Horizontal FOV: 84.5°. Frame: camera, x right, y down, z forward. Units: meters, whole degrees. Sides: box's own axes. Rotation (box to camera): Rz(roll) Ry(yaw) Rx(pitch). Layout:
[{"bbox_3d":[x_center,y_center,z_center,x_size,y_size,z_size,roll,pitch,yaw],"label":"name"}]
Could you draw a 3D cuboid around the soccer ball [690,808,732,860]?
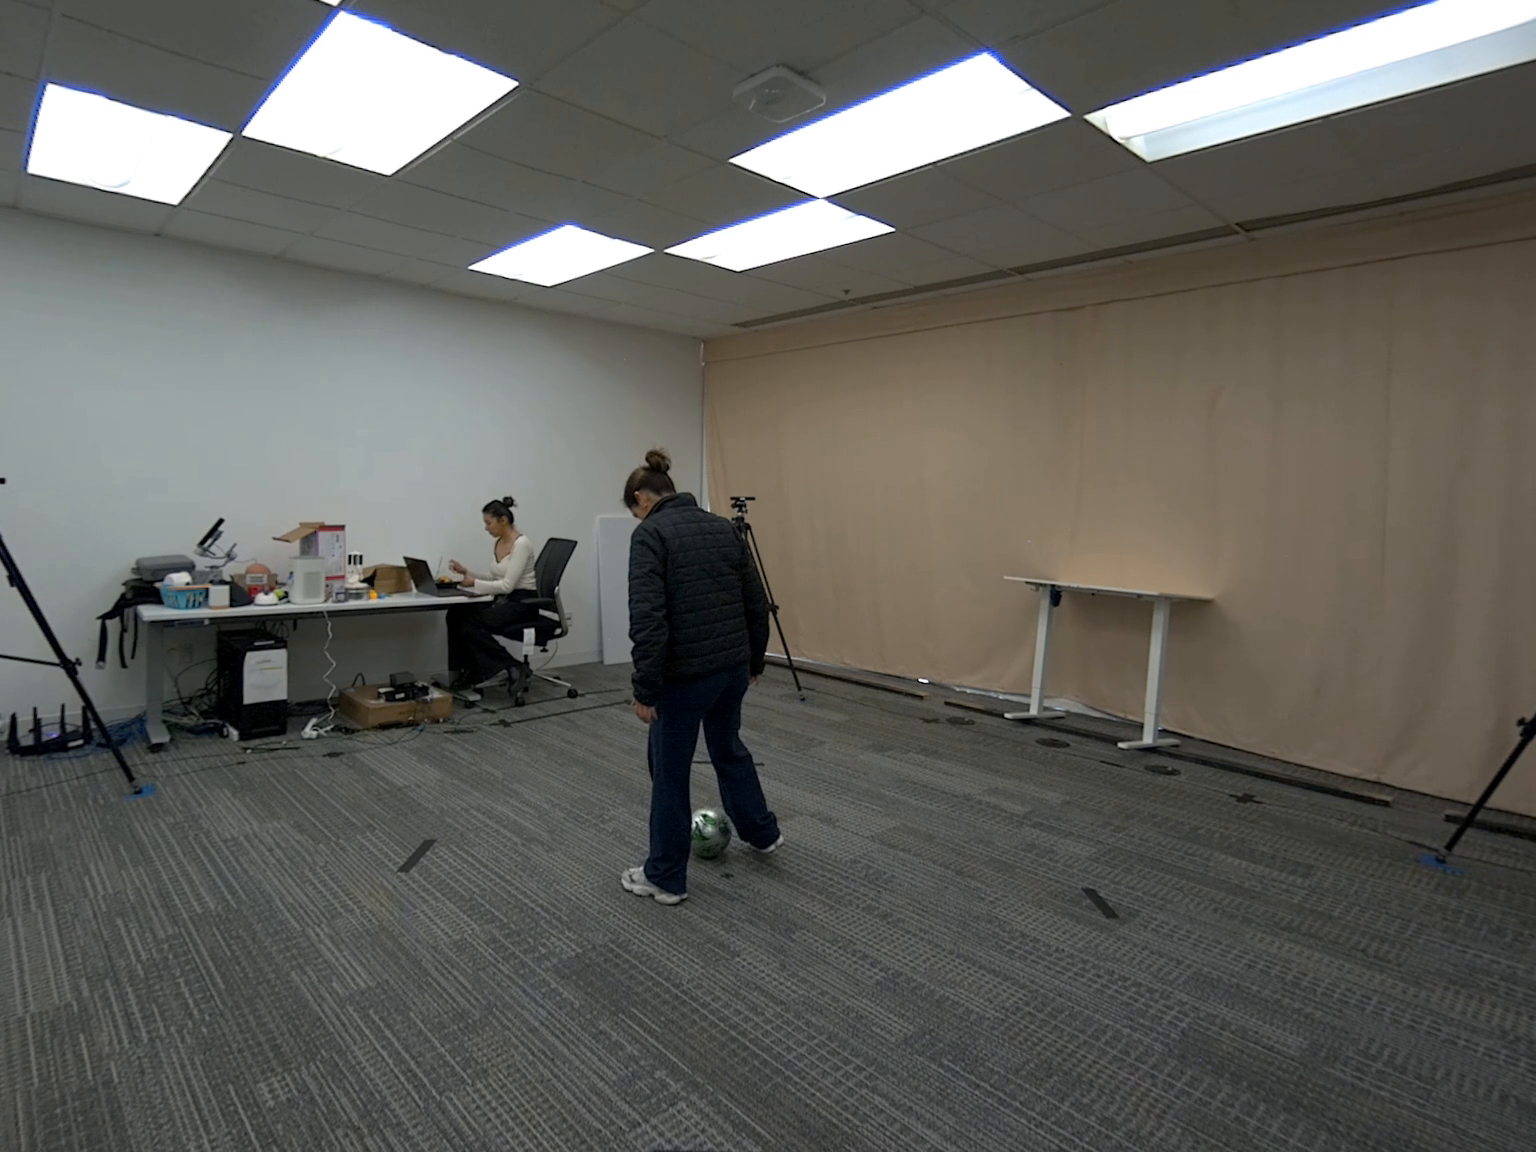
[{"bbox_3d":[-0.237,0.995,3.272,0.187,0.187,0.188,1,4,-1],"label":"soccer ball"}]
